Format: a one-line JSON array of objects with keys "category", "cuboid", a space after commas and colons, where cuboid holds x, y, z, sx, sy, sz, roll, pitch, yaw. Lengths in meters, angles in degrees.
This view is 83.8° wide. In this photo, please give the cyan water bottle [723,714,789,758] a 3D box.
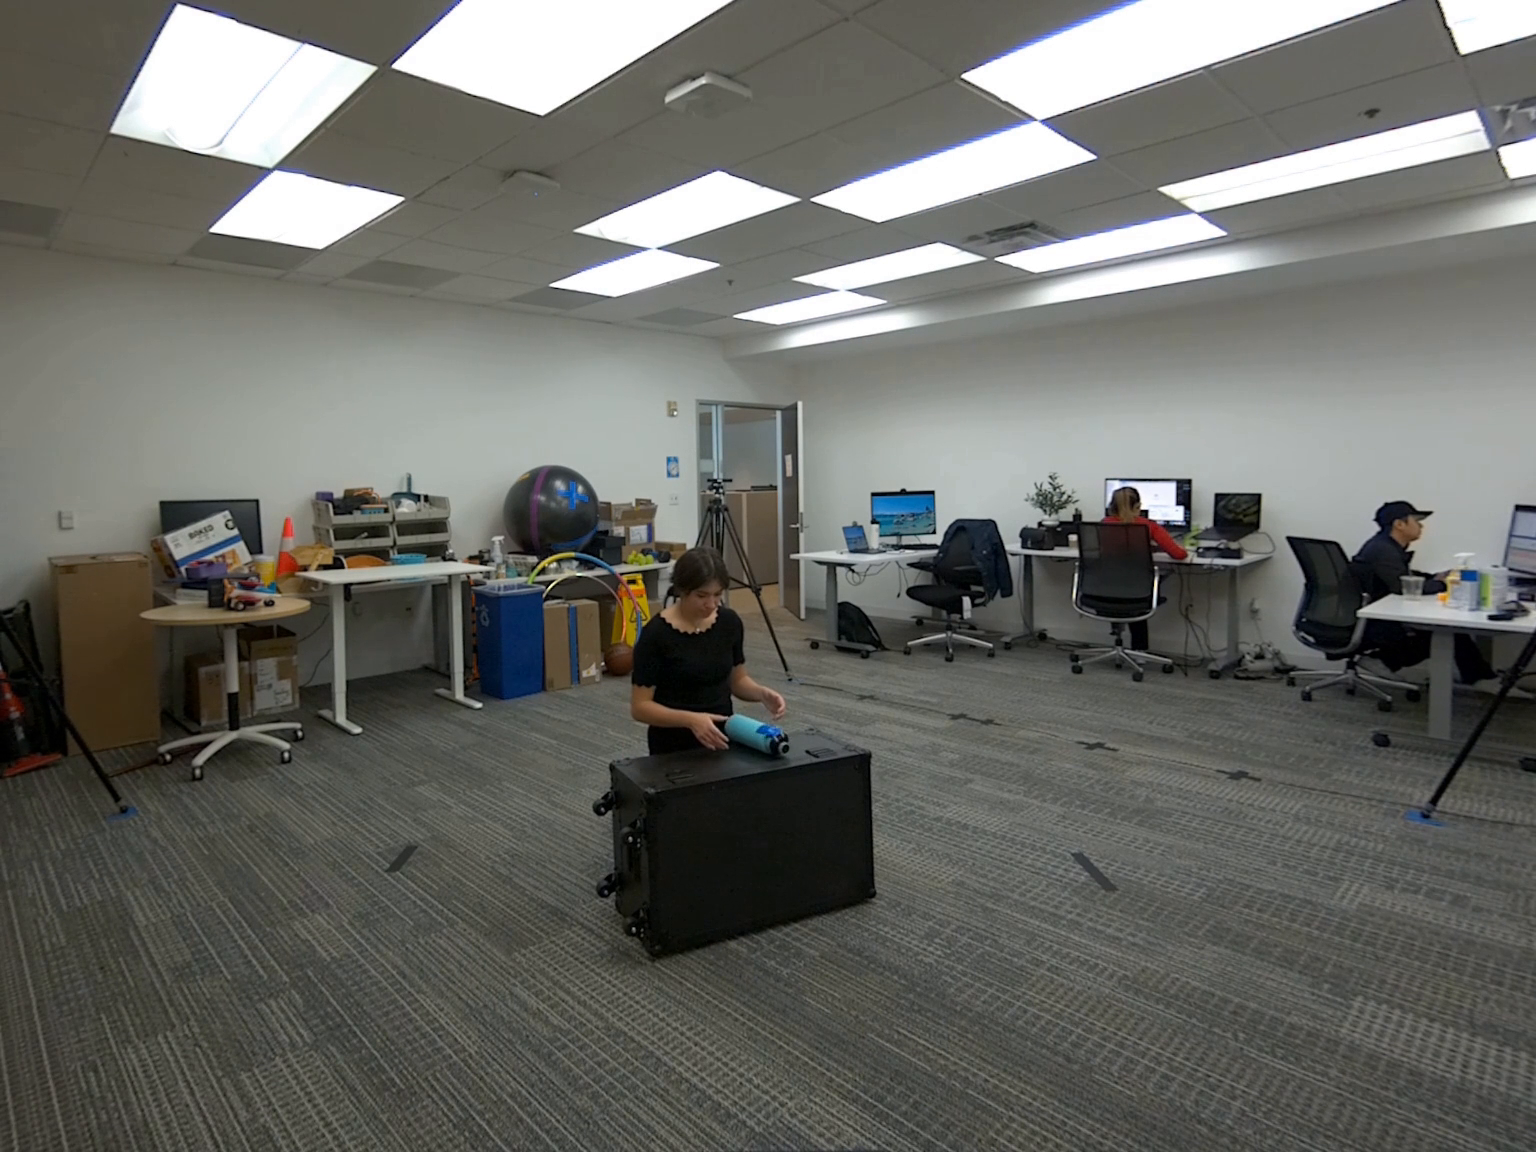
[{"category": "cyan water bottle", "cuboid": [-0.024, 0.542, 2.880, 0.090, 0.092, 0.291, -4, 5, -34]}]
